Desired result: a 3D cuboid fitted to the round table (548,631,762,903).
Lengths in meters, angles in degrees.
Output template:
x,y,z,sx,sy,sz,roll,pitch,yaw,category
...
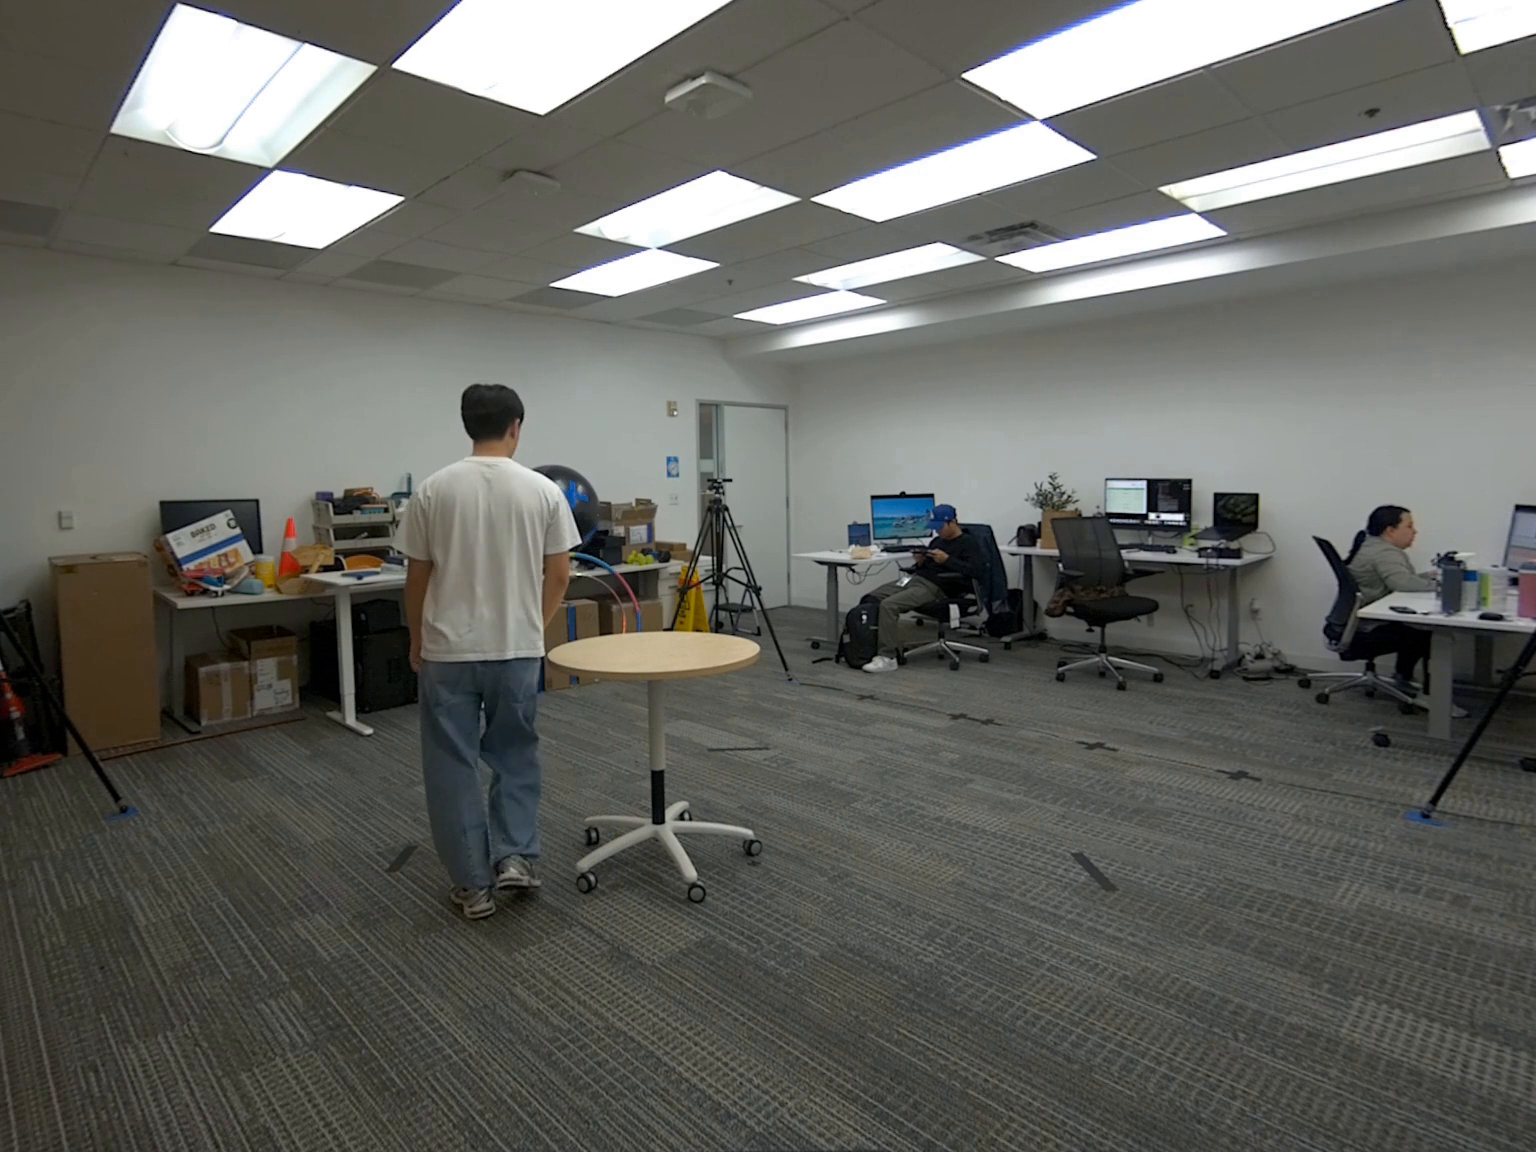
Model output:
x,y,z,sx,sy,sz,roll,pitch,yaw,category
-0.401,0.658,3.134,0.763,0.791,0.767,-1,4,-2,round table
